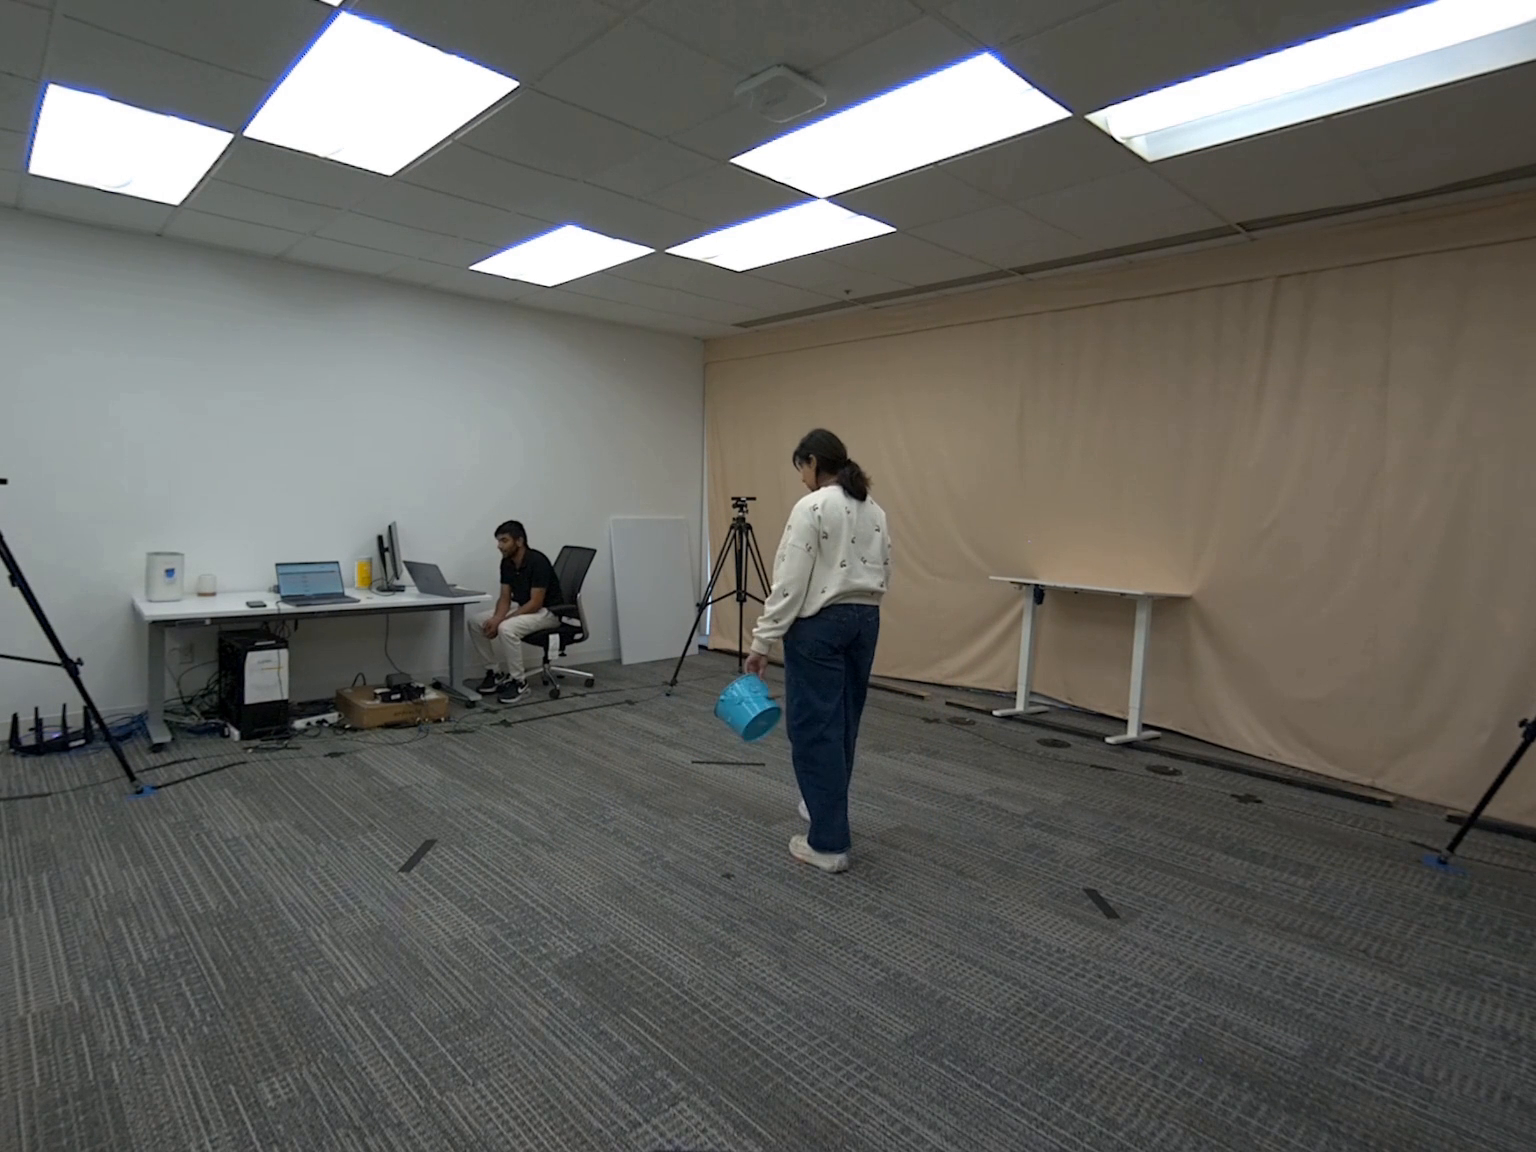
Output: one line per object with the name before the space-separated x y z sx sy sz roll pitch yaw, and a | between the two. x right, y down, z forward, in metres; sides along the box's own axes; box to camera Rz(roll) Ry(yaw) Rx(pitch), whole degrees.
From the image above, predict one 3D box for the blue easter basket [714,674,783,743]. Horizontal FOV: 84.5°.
blue easter basket | -0.069 0.485 3.156 0.238 0.241 0.161 -3 38 -43
